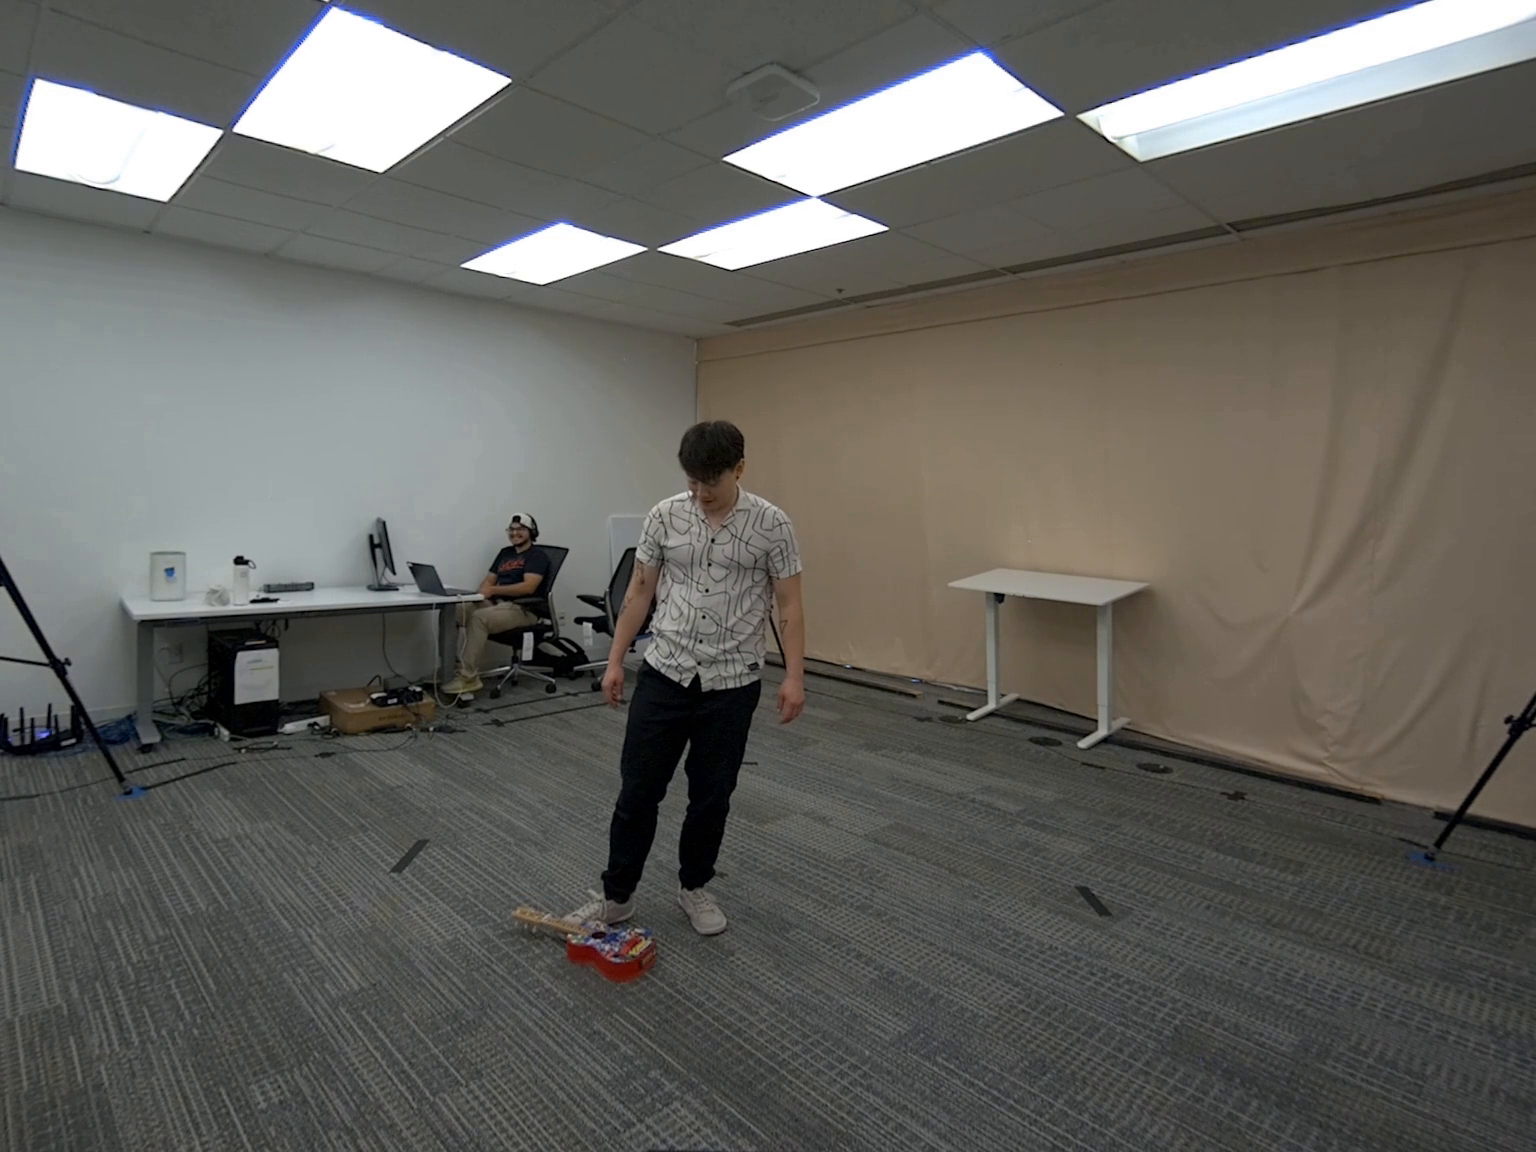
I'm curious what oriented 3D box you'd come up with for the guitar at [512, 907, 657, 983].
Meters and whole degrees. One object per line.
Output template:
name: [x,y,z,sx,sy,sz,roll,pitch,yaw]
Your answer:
guitar: [-0.575,1.107,2.597,0.510,0.070,0.189,5,8,34]
